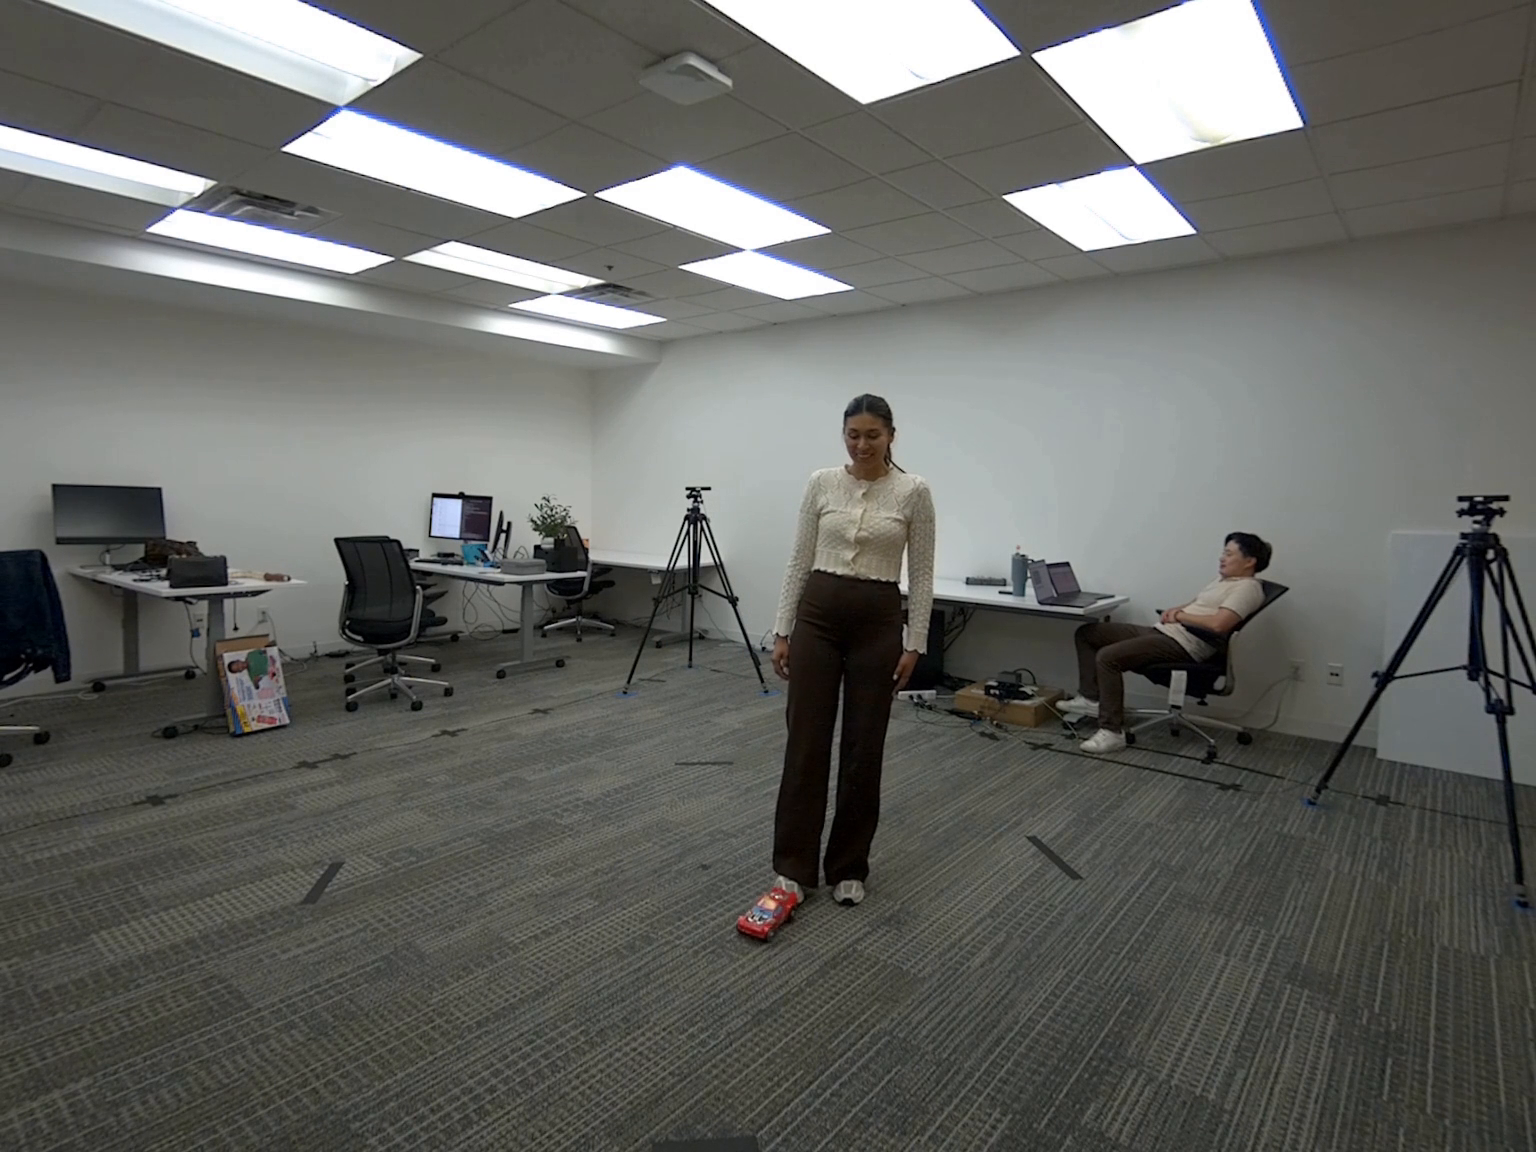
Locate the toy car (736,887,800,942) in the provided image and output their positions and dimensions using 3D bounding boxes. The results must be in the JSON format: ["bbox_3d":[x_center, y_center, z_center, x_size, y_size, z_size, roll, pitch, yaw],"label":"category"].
[{"bbox_3d":[0.002,1.073,2.715,0.134,0.082,0.251,5,19,30],"label":"toy car"}]
